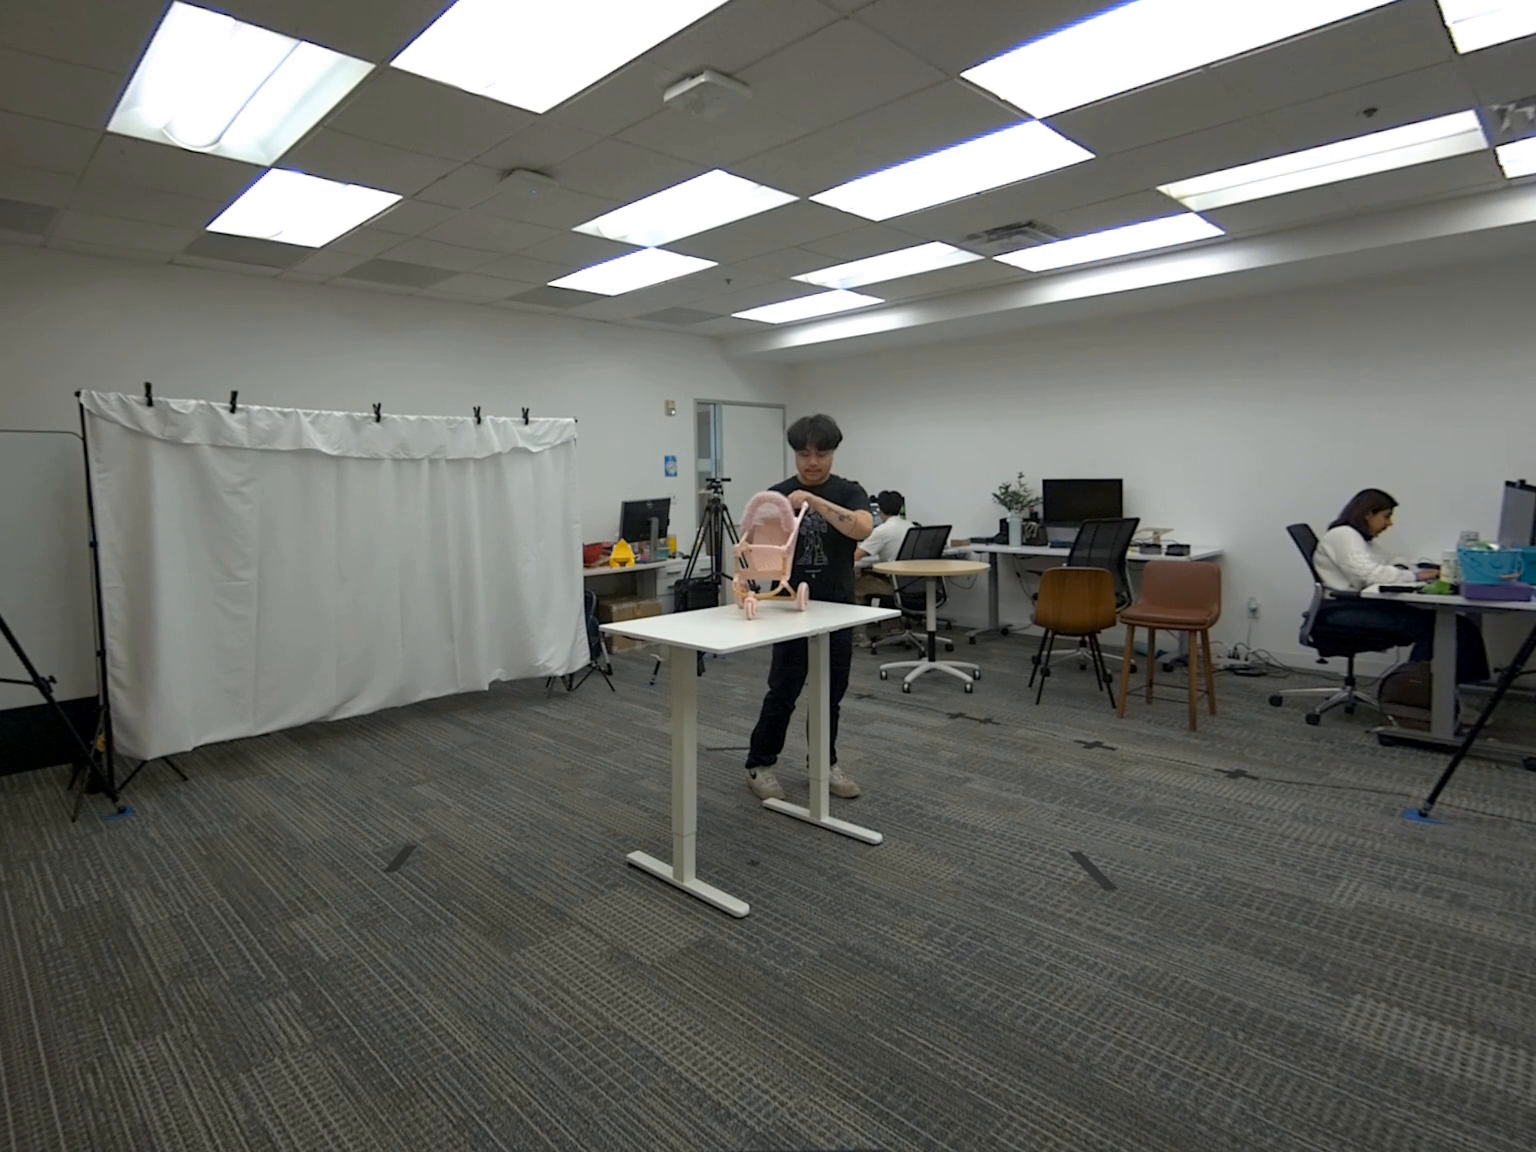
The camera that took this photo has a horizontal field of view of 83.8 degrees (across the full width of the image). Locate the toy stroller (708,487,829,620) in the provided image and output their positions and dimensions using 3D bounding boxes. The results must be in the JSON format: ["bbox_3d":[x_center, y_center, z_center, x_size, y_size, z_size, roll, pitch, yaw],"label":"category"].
[{"bbox_3d":[-0.007,-0.084,3.275,0.288,0.539,0.331,1,-11,24],"label":"toy stroller"}]
